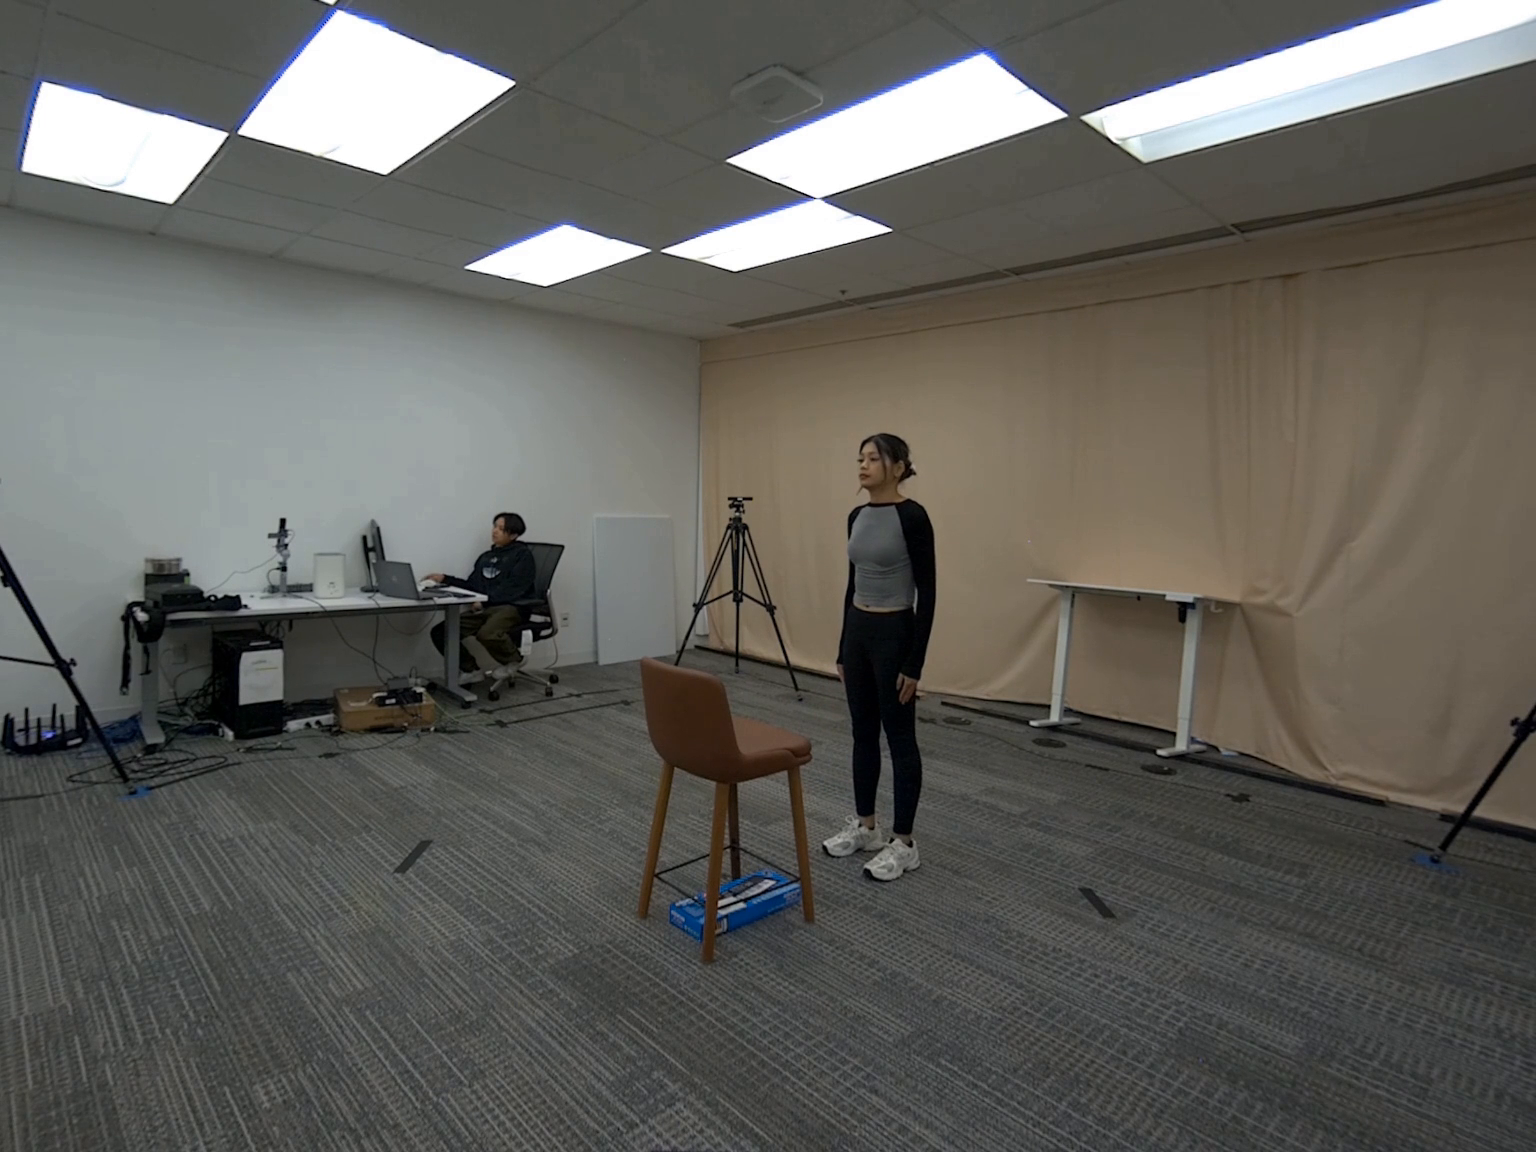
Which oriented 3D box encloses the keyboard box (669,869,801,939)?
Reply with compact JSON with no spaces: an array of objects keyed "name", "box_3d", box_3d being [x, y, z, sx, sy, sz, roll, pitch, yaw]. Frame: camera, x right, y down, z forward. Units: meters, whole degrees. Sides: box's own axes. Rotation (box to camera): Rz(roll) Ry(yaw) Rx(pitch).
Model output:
[{"name":"keyboard box","box_3d":[-0.108,1.105,2.831,0.427,0.059,0.180,-4,8,-41]}]
